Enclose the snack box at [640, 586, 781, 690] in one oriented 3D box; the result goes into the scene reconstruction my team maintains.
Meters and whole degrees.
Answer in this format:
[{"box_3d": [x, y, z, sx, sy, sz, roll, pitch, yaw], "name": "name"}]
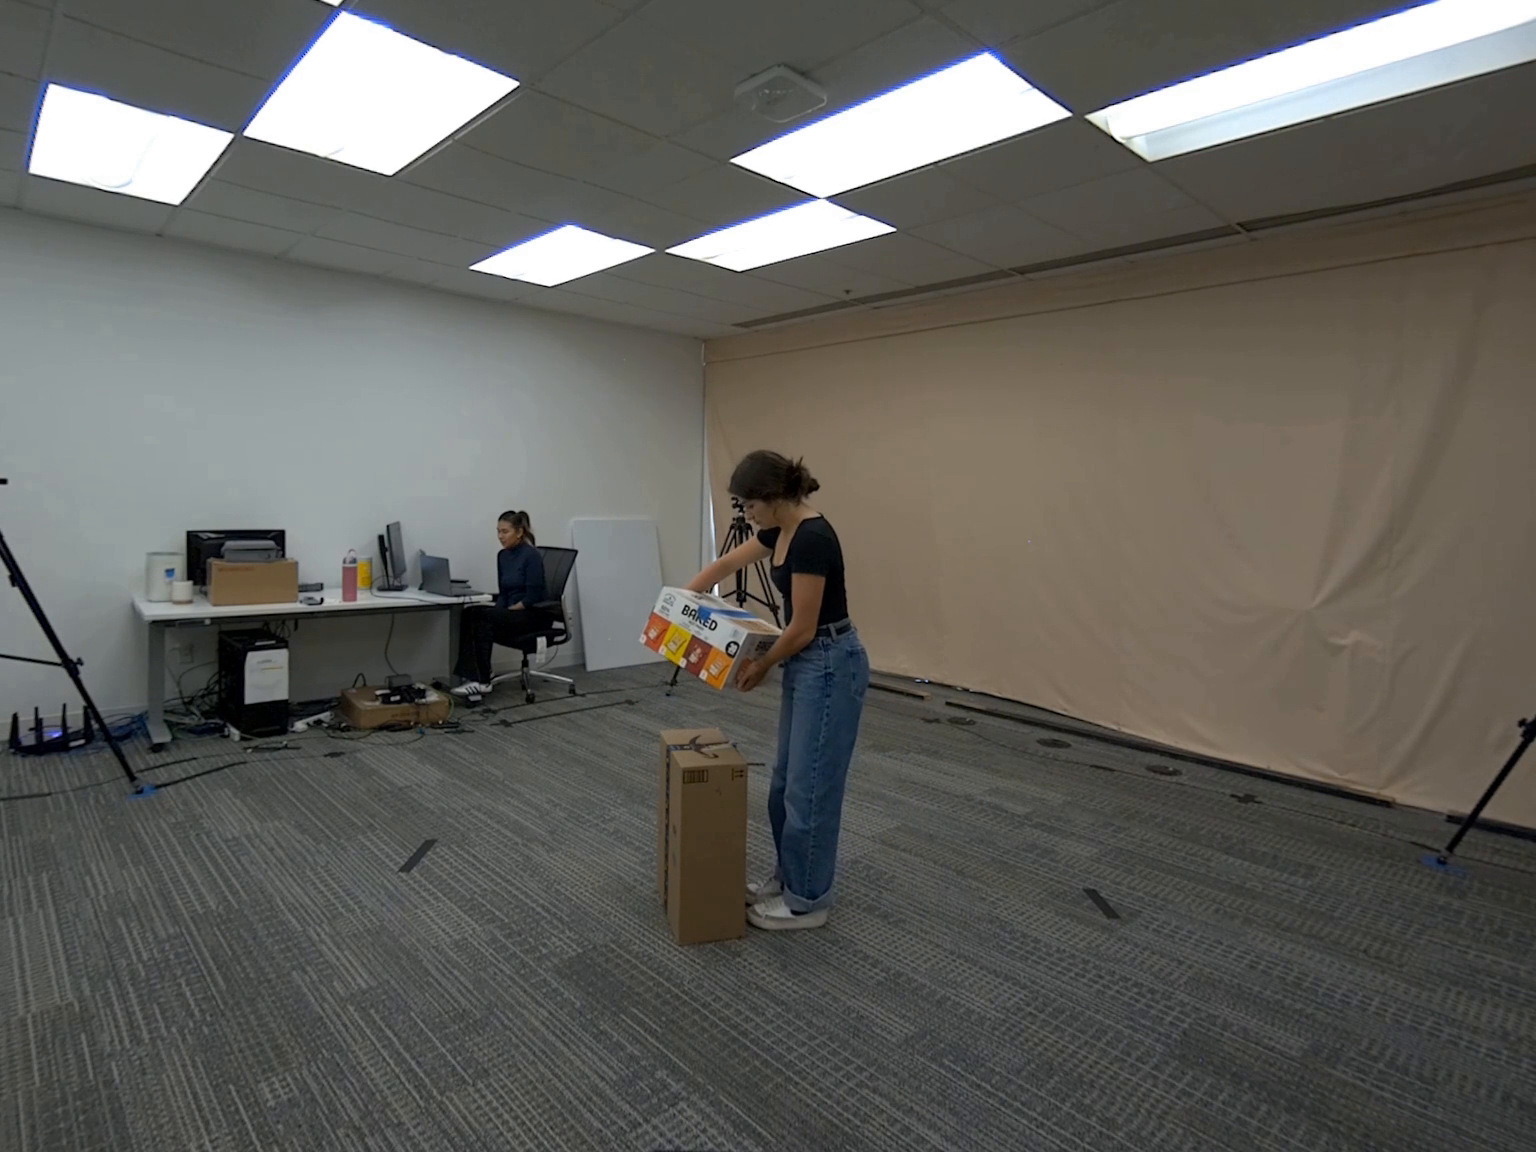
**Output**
[{"box_3d": [-0.171, 0.215, 2.862, 0.348, 0.205, 0.396, 27, 5, 24], "name": "snack box"}]
